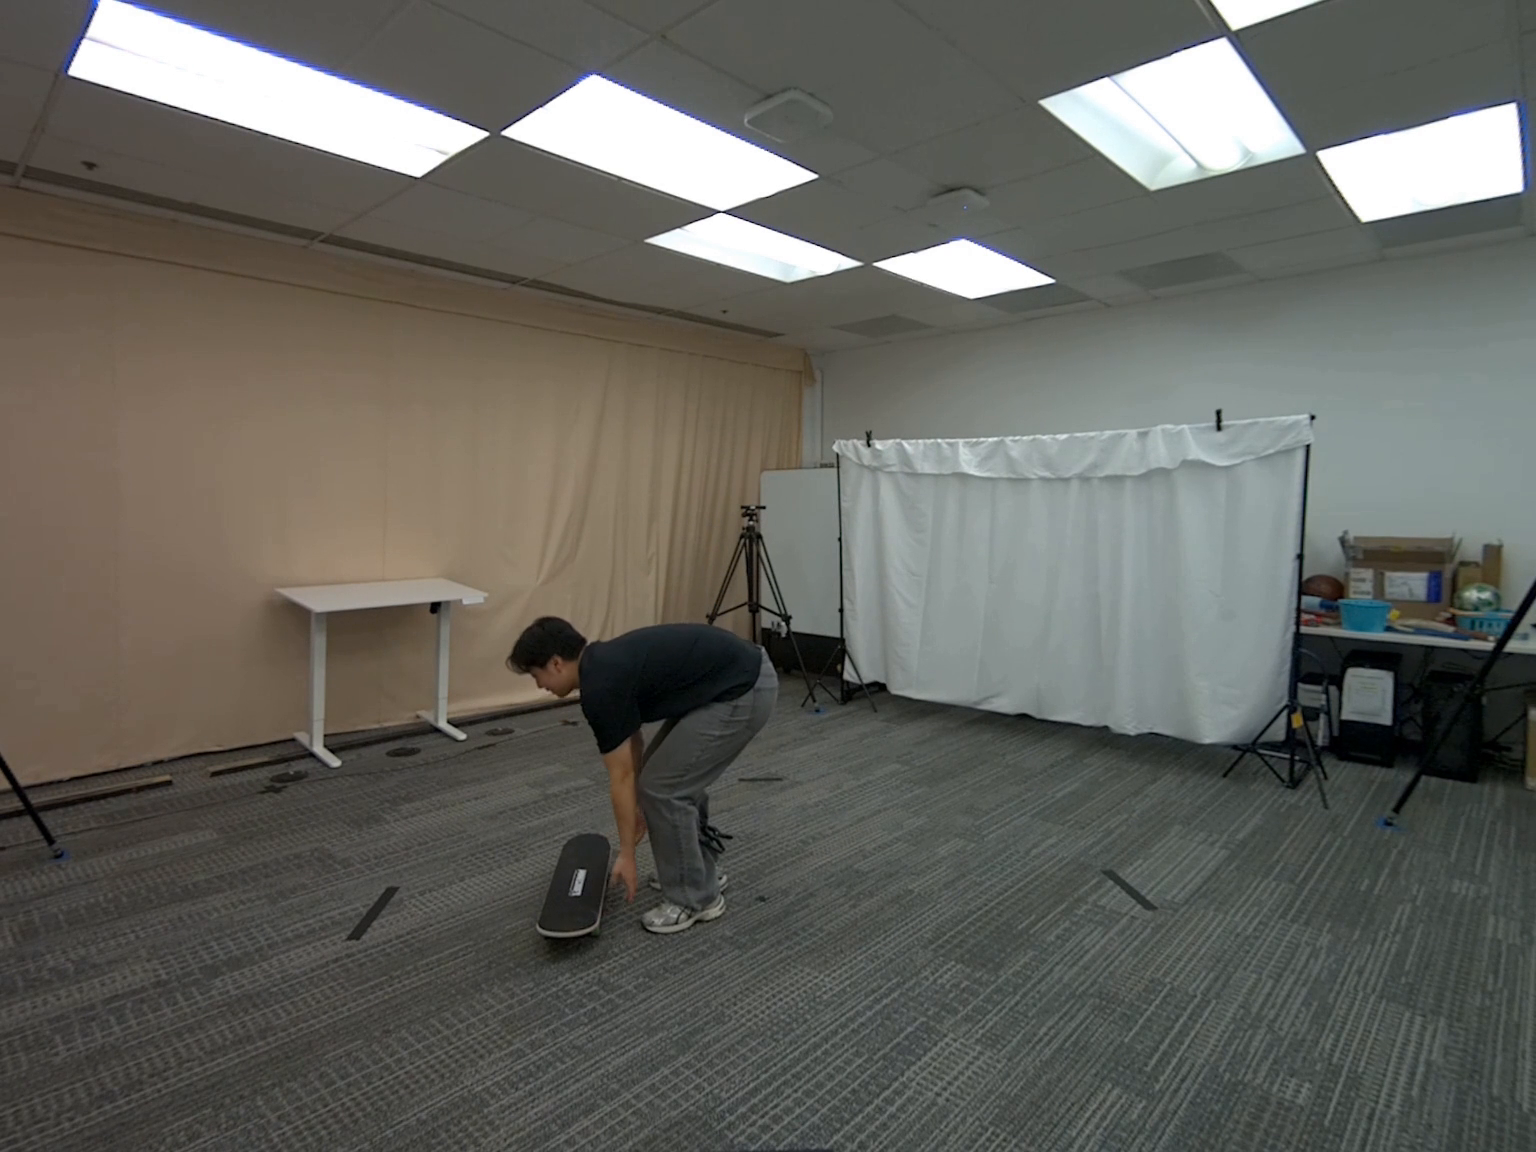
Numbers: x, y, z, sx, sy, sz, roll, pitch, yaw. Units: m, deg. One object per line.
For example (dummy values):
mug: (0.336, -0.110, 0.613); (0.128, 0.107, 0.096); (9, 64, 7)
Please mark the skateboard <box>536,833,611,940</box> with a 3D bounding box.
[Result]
skateboard: (-0.657, 1.089, 2.930); (0.192, 0.110, 0.791); (-1, 5, -6)
